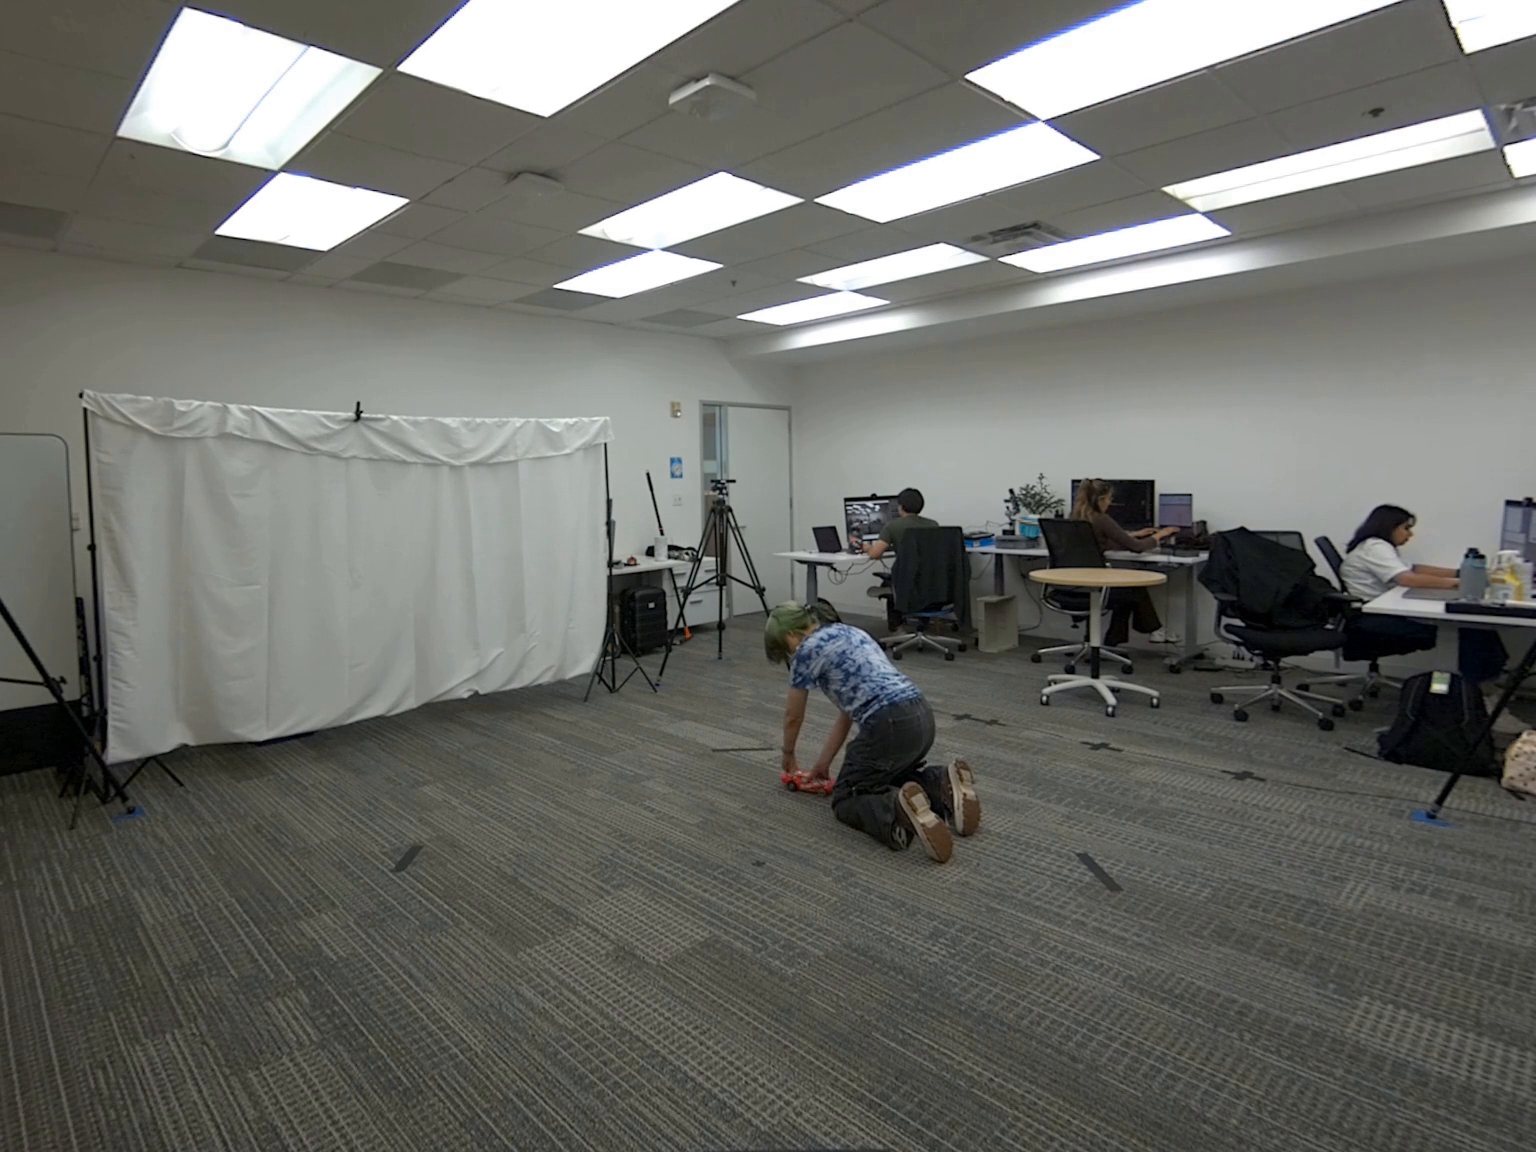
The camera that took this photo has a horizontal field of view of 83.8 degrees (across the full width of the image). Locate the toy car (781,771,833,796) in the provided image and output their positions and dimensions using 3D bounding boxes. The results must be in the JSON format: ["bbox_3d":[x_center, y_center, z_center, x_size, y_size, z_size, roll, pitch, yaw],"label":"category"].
[{"bbox_3d":[0.176,0.932,3.851,0.262,0.082,0.127,17,12,28],"label":"toy car"}]
